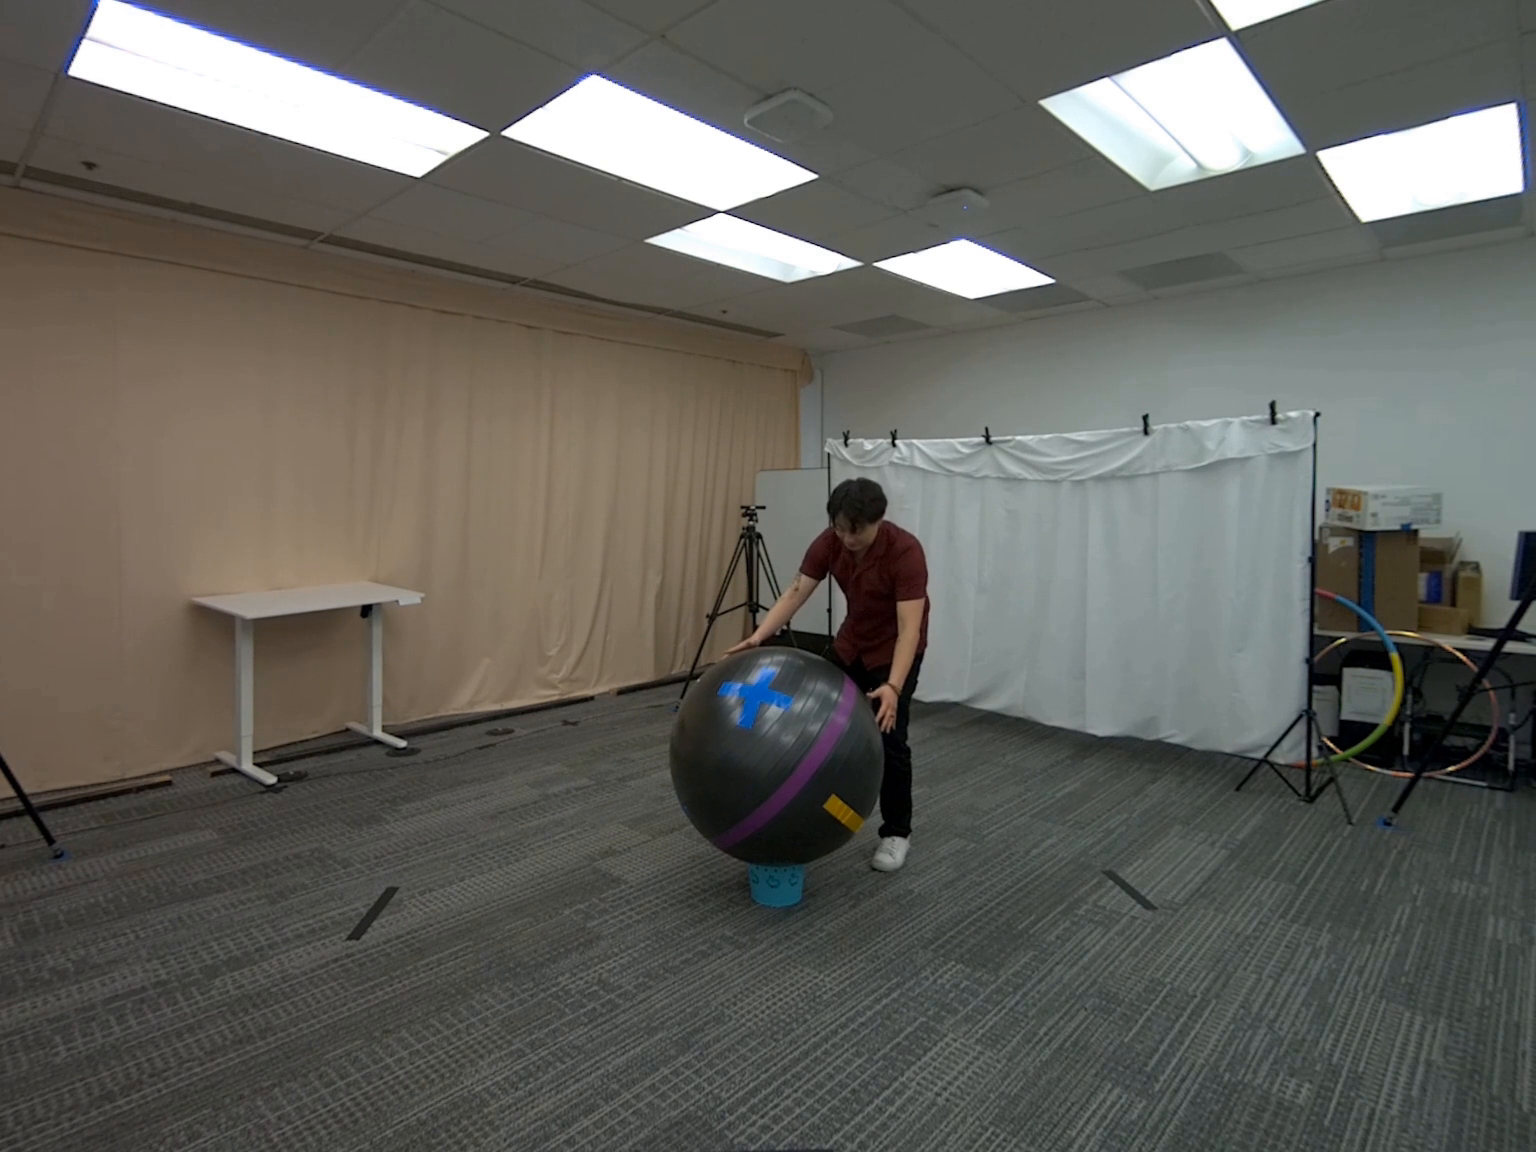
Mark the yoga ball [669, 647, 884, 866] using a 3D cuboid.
[{"bbox_3d":[0.019,0.637,2.991,0.757,0.756,0.760,0,4,-2],"label":"yoga ball"}]
